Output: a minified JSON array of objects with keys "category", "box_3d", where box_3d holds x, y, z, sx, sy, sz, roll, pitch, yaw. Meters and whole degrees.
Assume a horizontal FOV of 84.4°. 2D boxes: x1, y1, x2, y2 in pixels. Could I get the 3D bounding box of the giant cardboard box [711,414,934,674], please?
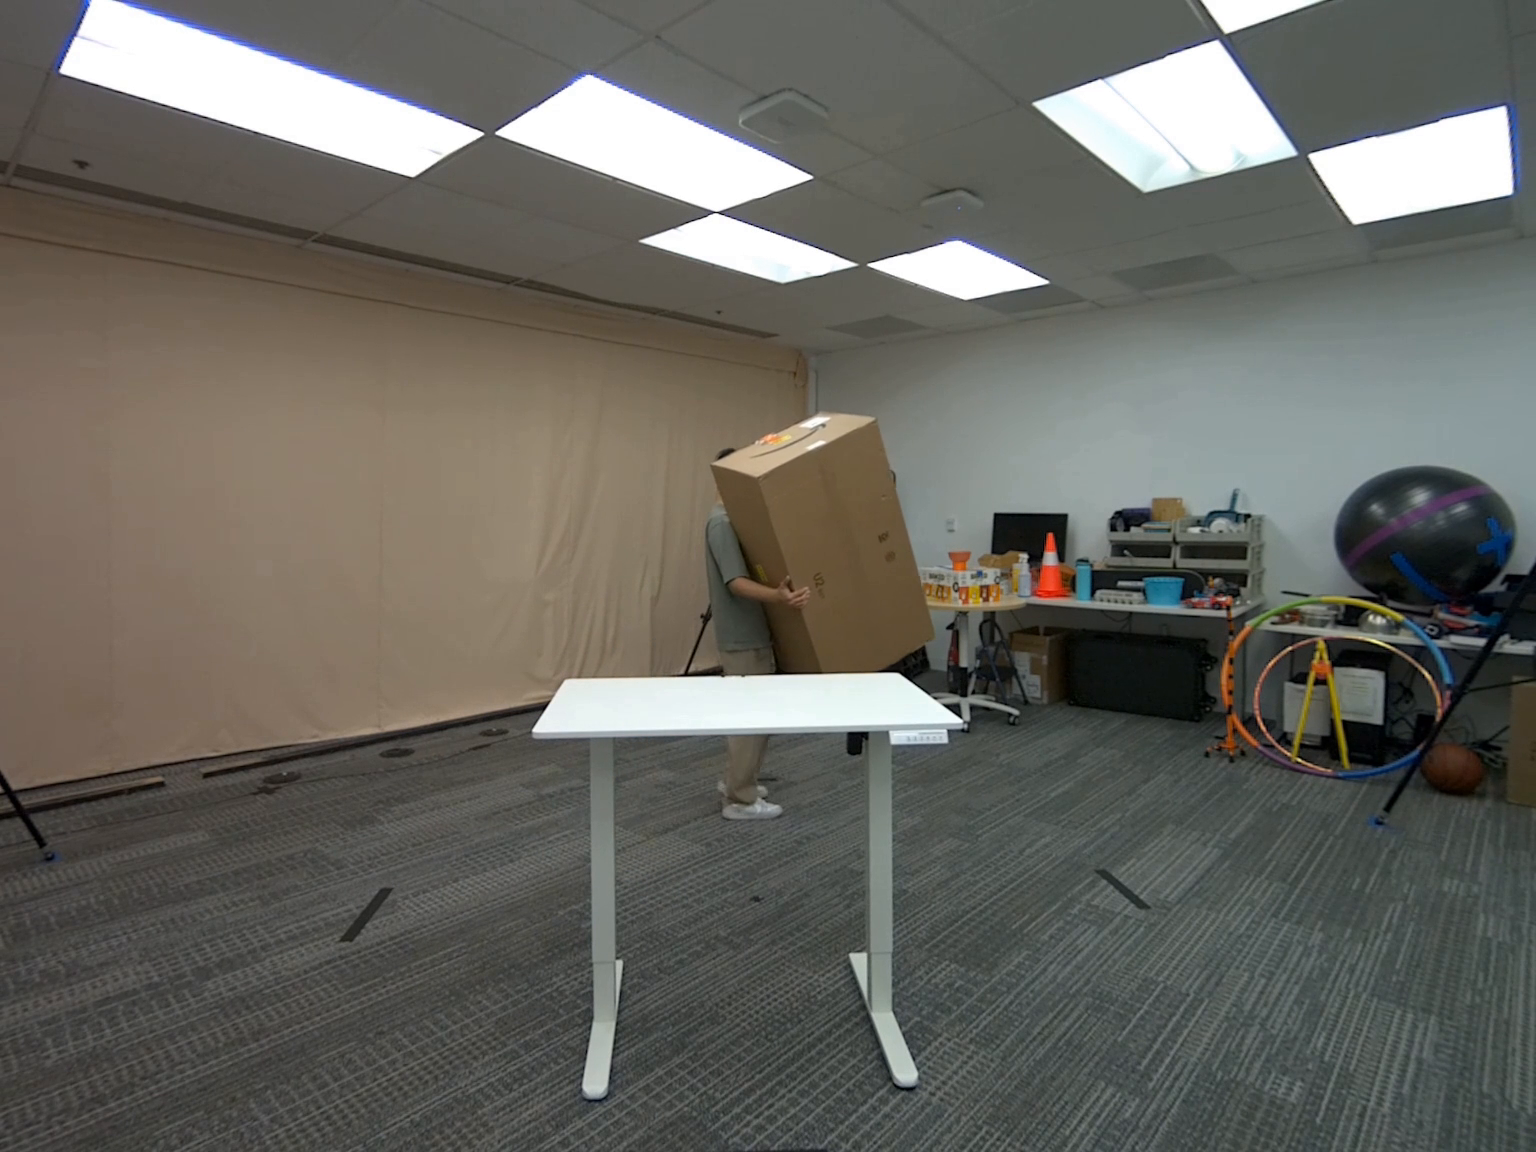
[{"category":"giant cardboard box","box_3d":[0.243,-0.095,3.573,0.570,1.006,0.440,-27,23,-20]}]
